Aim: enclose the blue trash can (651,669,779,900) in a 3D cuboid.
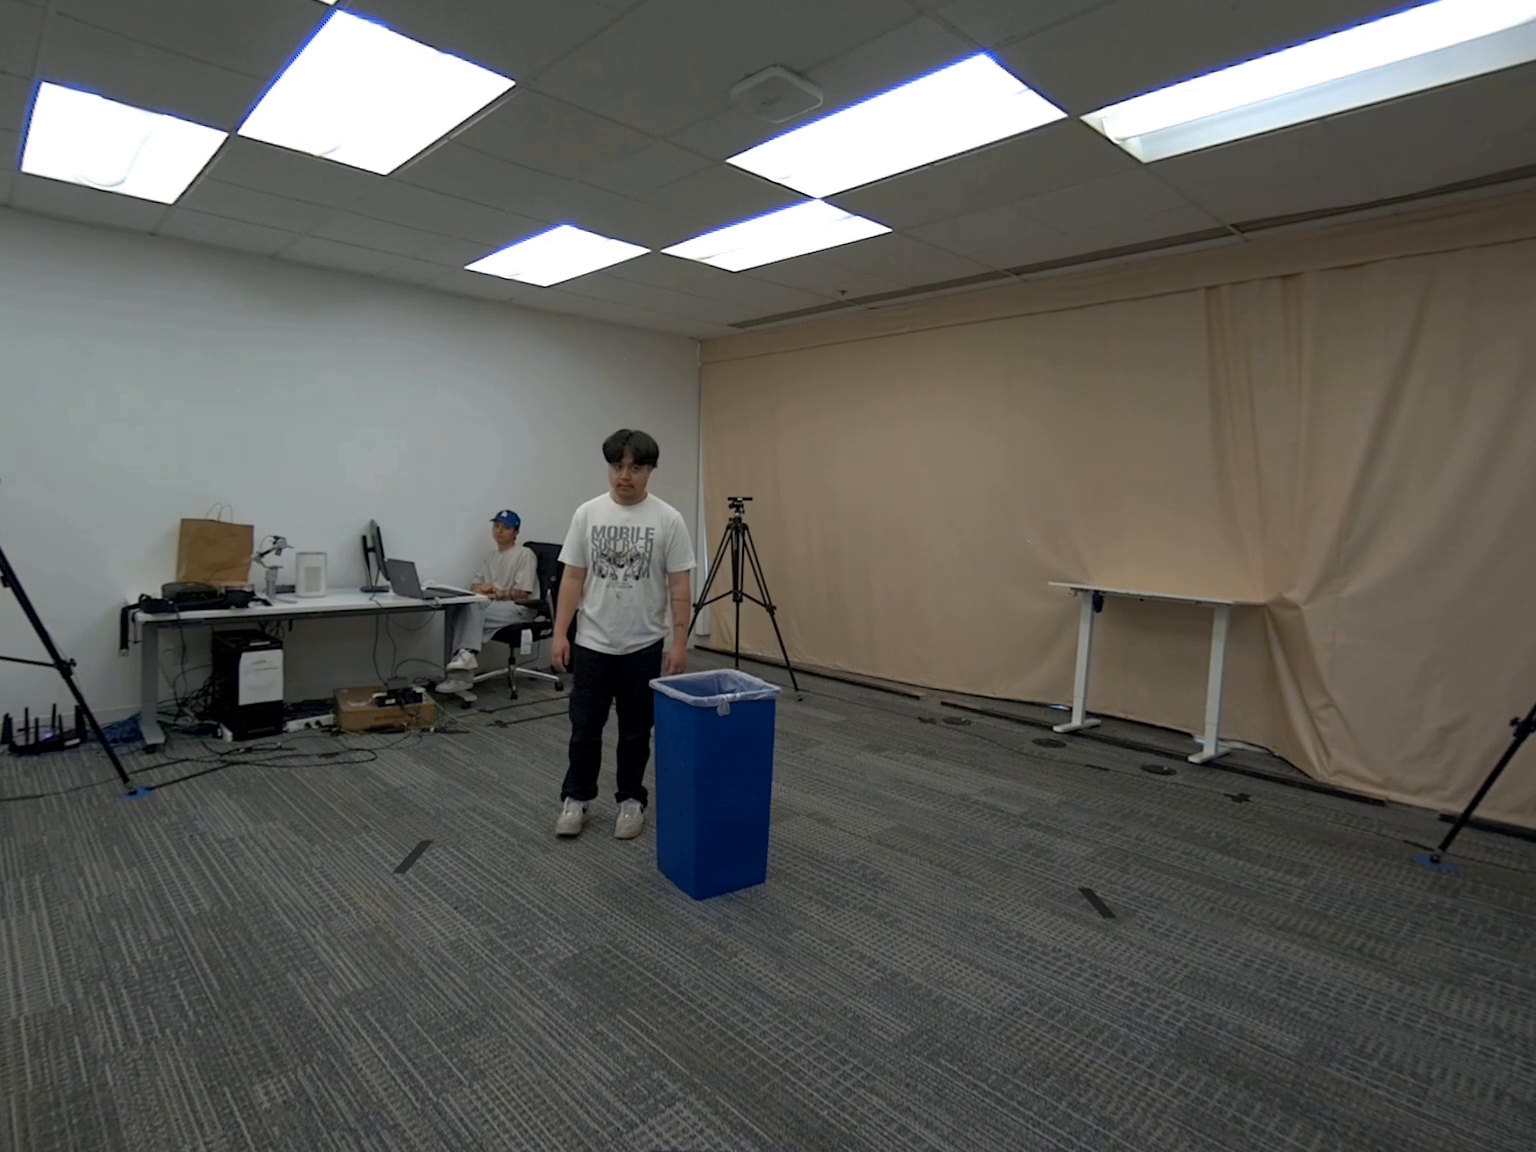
[{"bbox_3d":[-0.214,0.749,3.094,0.370,0.712,0.383,-1,4,-34],"label":"blue trash can"}]
